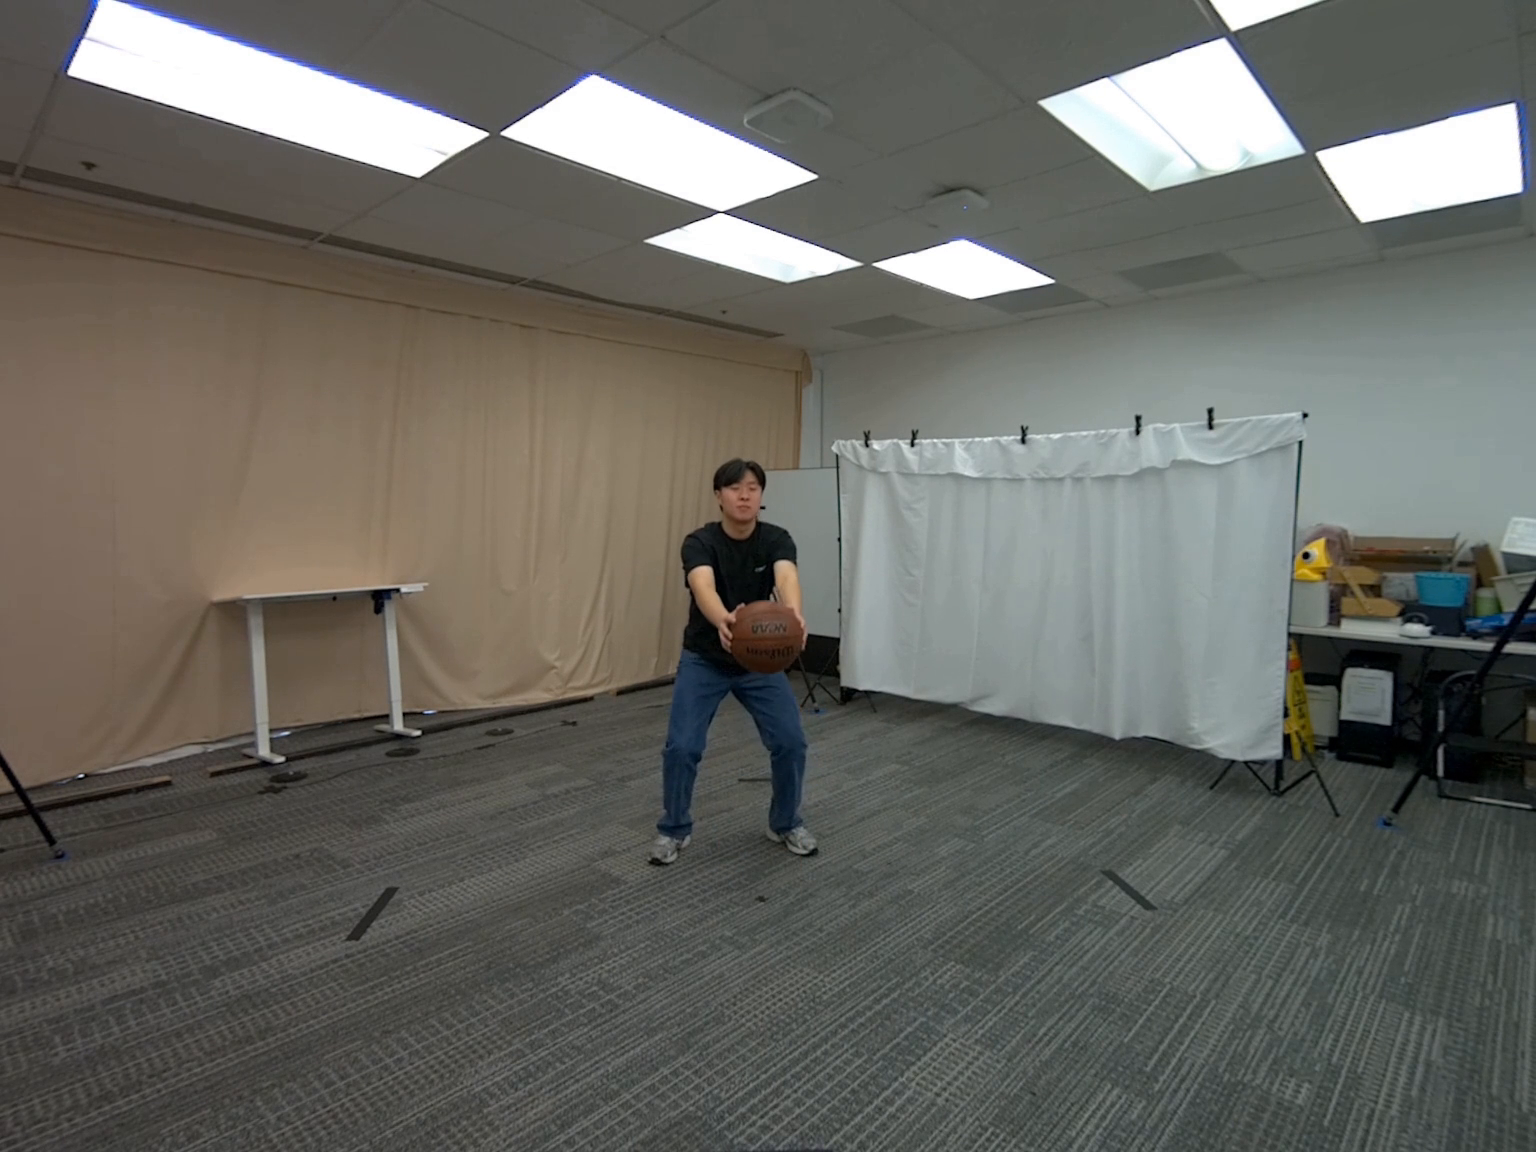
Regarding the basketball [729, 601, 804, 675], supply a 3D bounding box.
[{"bbox_3d":[-0.011,0.201,2.734,0.236,0.235,0.237,0,4,-2],"label":"basketball"}]
